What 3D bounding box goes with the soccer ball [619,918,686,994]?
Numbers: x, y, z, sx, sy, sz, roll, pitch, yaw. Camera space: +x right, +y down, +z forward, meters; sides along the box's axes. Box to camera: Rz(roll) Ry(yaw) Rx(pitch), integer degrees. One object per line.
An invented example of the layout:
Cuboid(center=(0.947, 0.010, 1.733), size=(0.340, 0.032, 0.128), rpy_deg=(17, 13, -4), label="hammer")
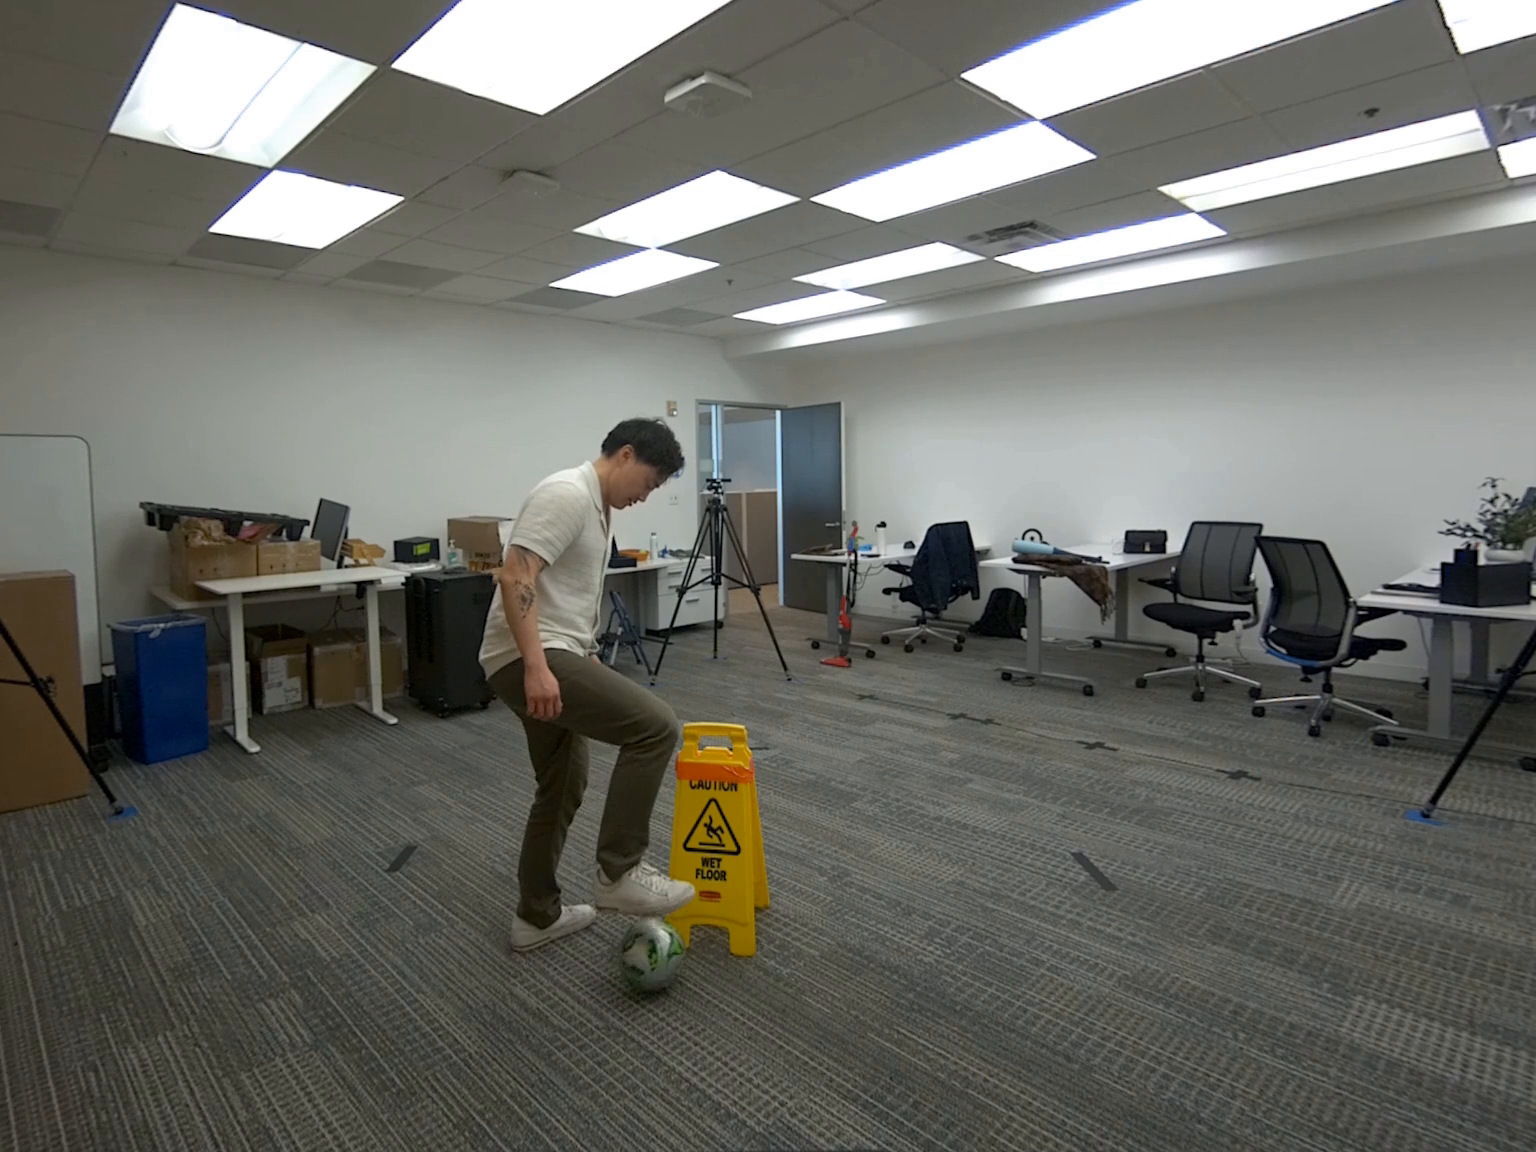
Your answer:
Cuboid(center=(-0.319, 1.049, 2.359), size=(0.187, 0.187, 0.188), rpy_deg=(-1, 5, -2), label="soccer ball")
